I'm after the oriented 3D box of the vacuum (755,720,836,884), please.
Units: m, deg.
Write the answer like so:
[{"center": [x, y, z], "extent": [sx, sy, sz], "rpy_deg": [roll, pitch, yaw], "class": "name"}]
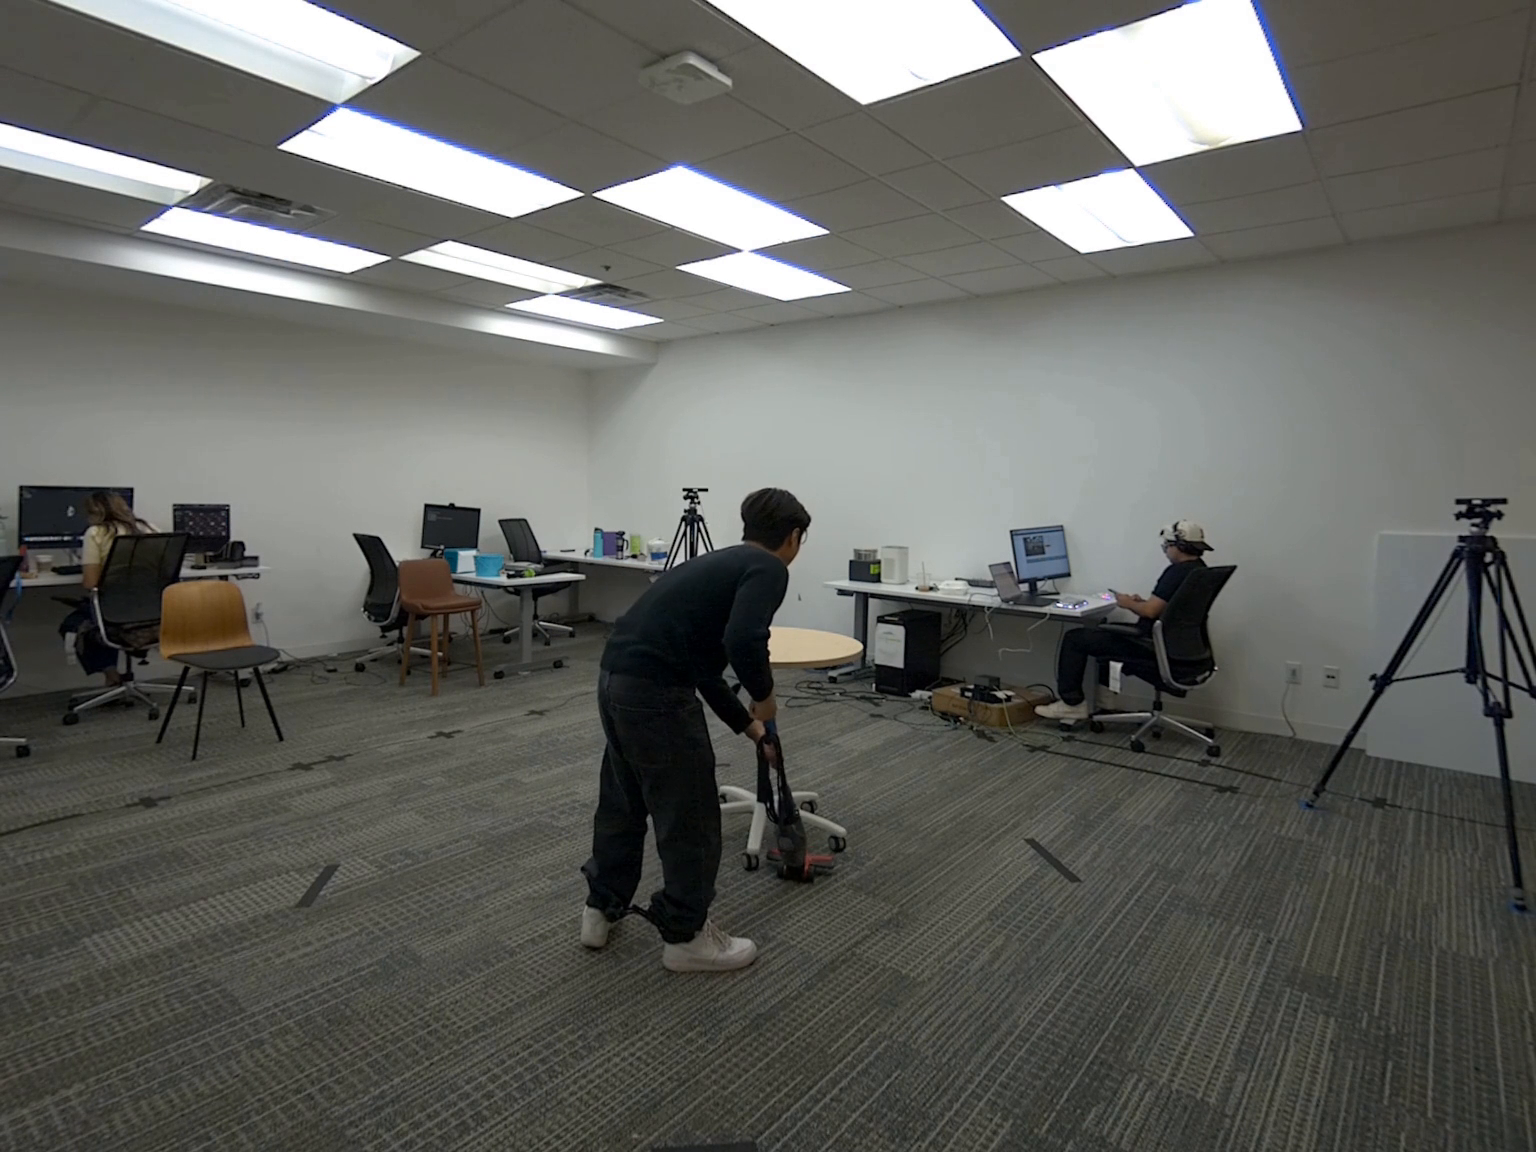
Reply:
[{"center": [0.033, 0.712, 2.746], "extent": [0.257, 0.146, 1.013], "rpy_deg": [4, -42, 14], "class": "vacuum"}]
